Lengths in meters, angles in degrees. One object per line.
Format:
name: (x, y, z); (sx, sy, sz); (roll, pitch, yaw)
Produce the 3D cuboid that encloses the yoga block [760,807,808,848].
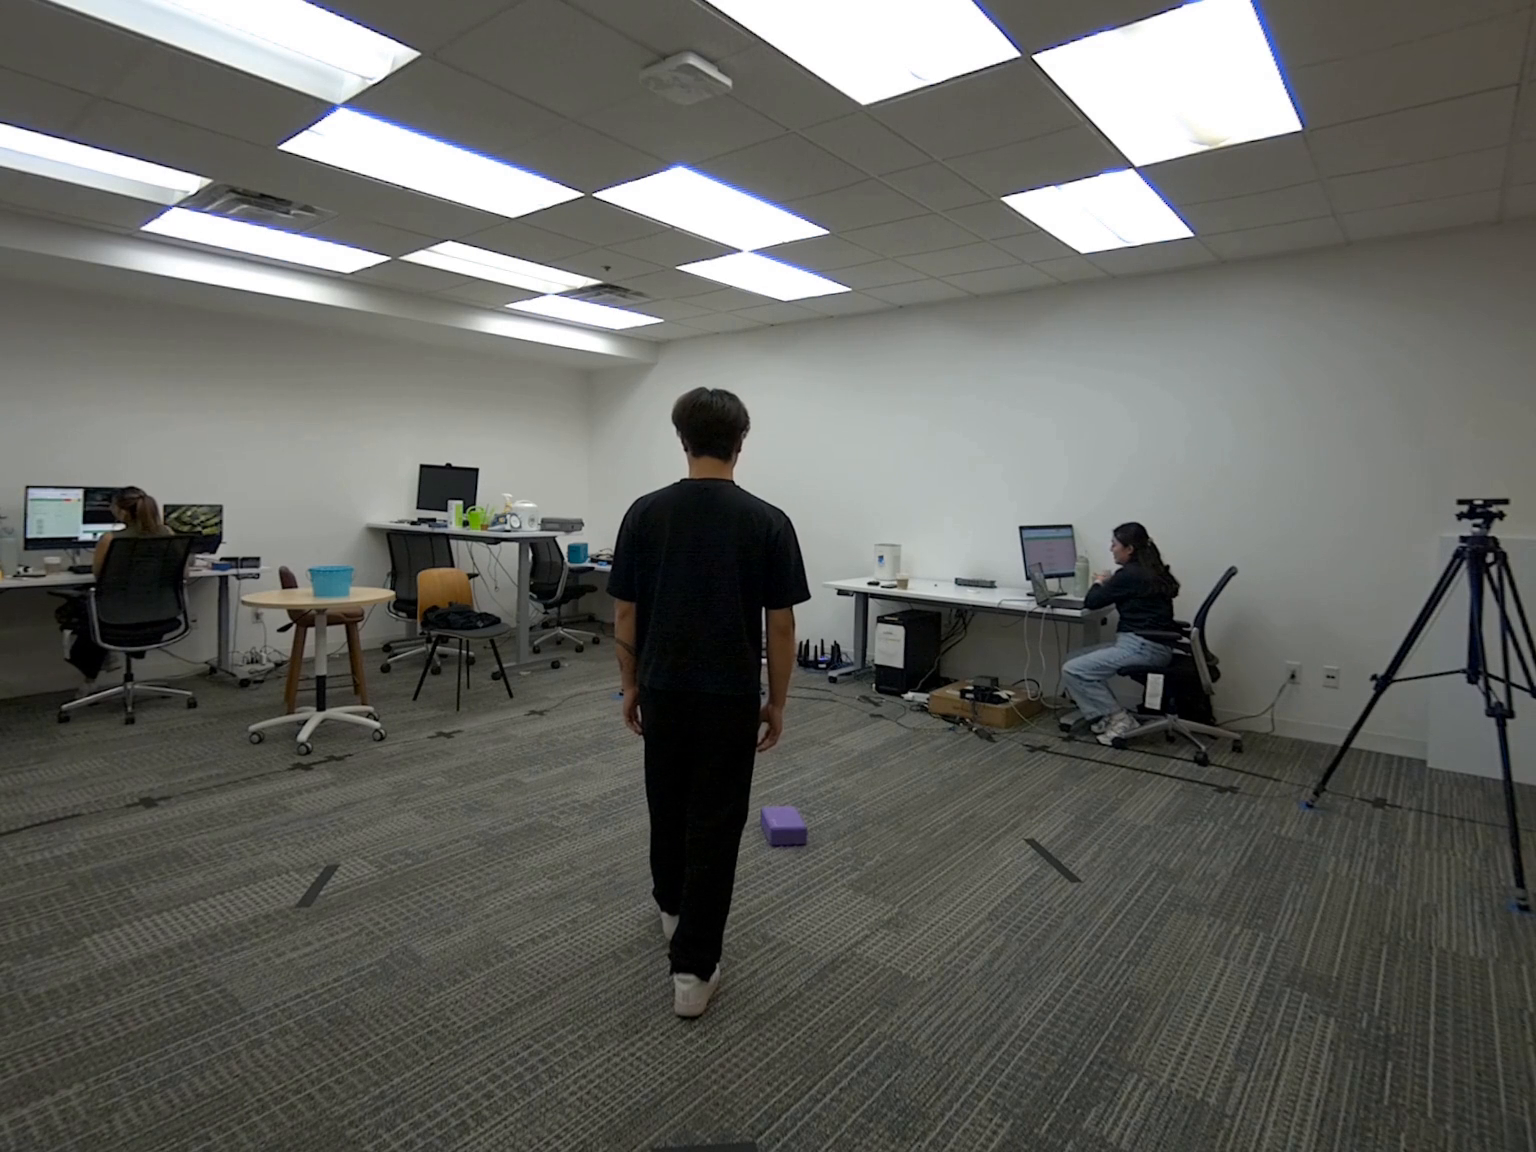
yoga block: (0.055, 1.003, 3.439); (0.147, 0.076, 0.232); (-1, 5, -10)
